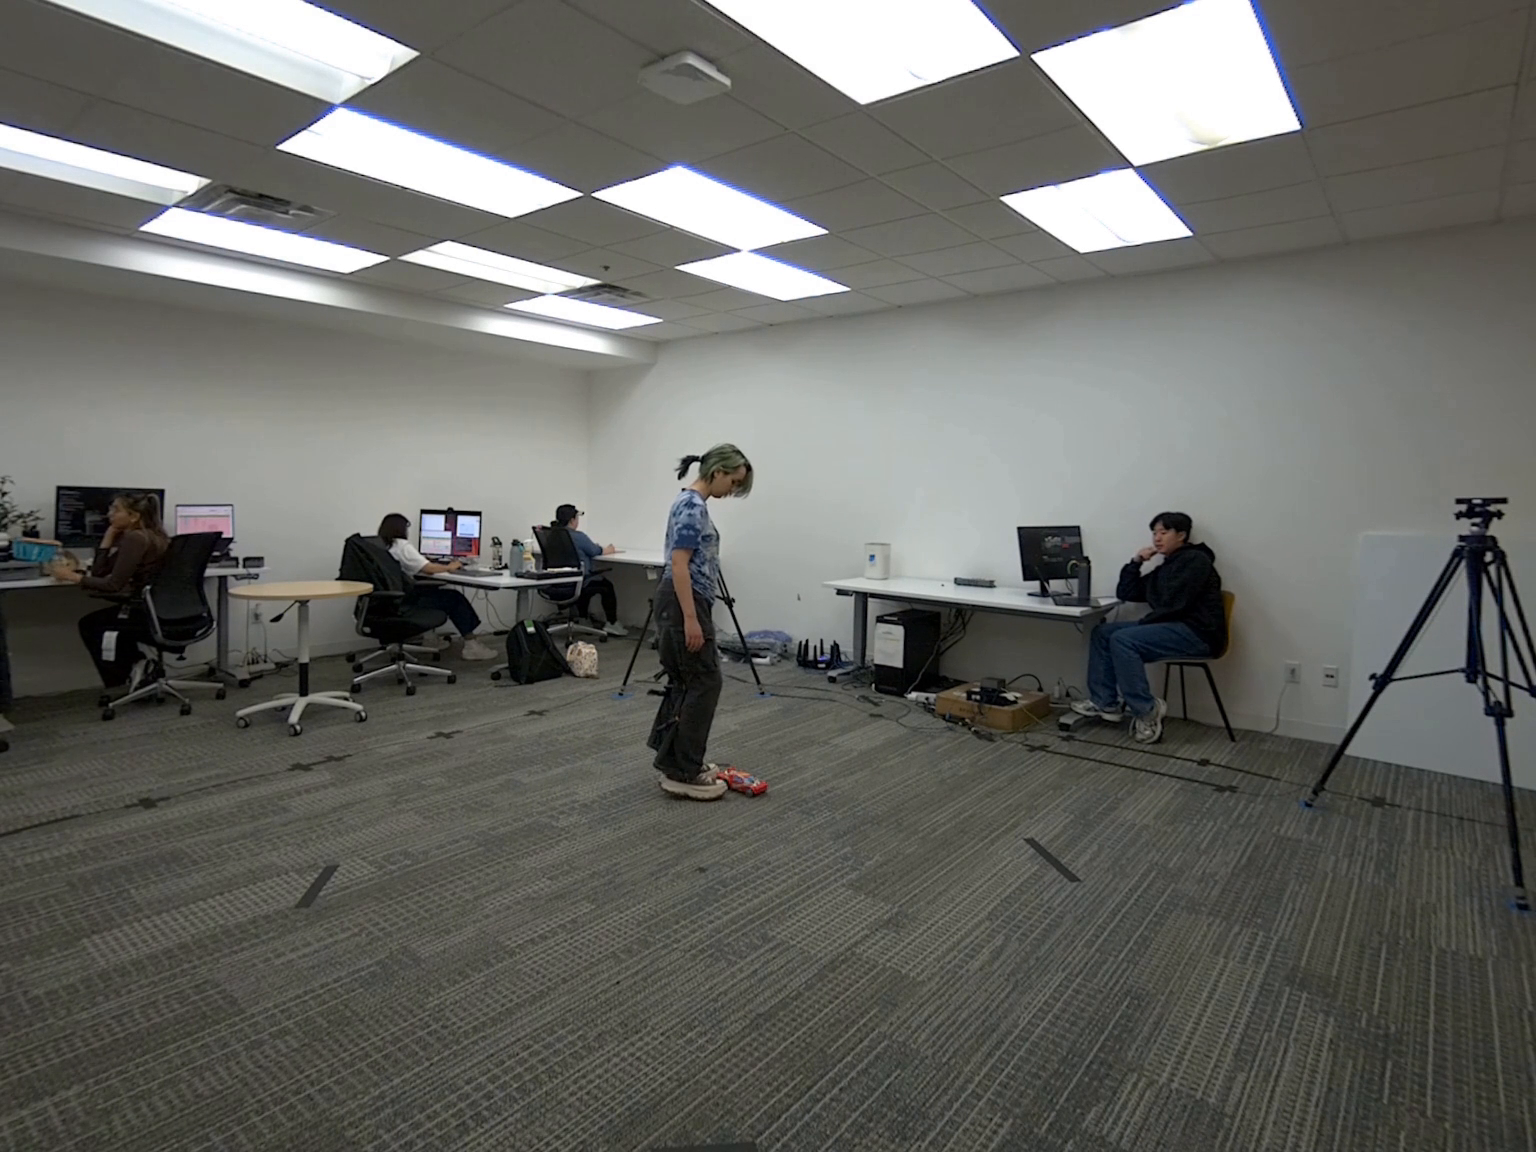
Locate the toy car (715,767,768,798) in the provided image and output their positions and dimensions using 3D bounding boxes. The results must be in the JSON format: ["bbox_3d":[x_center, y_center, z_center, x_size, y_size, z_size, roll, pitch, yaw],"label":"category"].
[{"bbox_3d":[-0.134,0.959,3.958,0.264,0.082,0.126,18,14,39],"label":"toy car"}]
